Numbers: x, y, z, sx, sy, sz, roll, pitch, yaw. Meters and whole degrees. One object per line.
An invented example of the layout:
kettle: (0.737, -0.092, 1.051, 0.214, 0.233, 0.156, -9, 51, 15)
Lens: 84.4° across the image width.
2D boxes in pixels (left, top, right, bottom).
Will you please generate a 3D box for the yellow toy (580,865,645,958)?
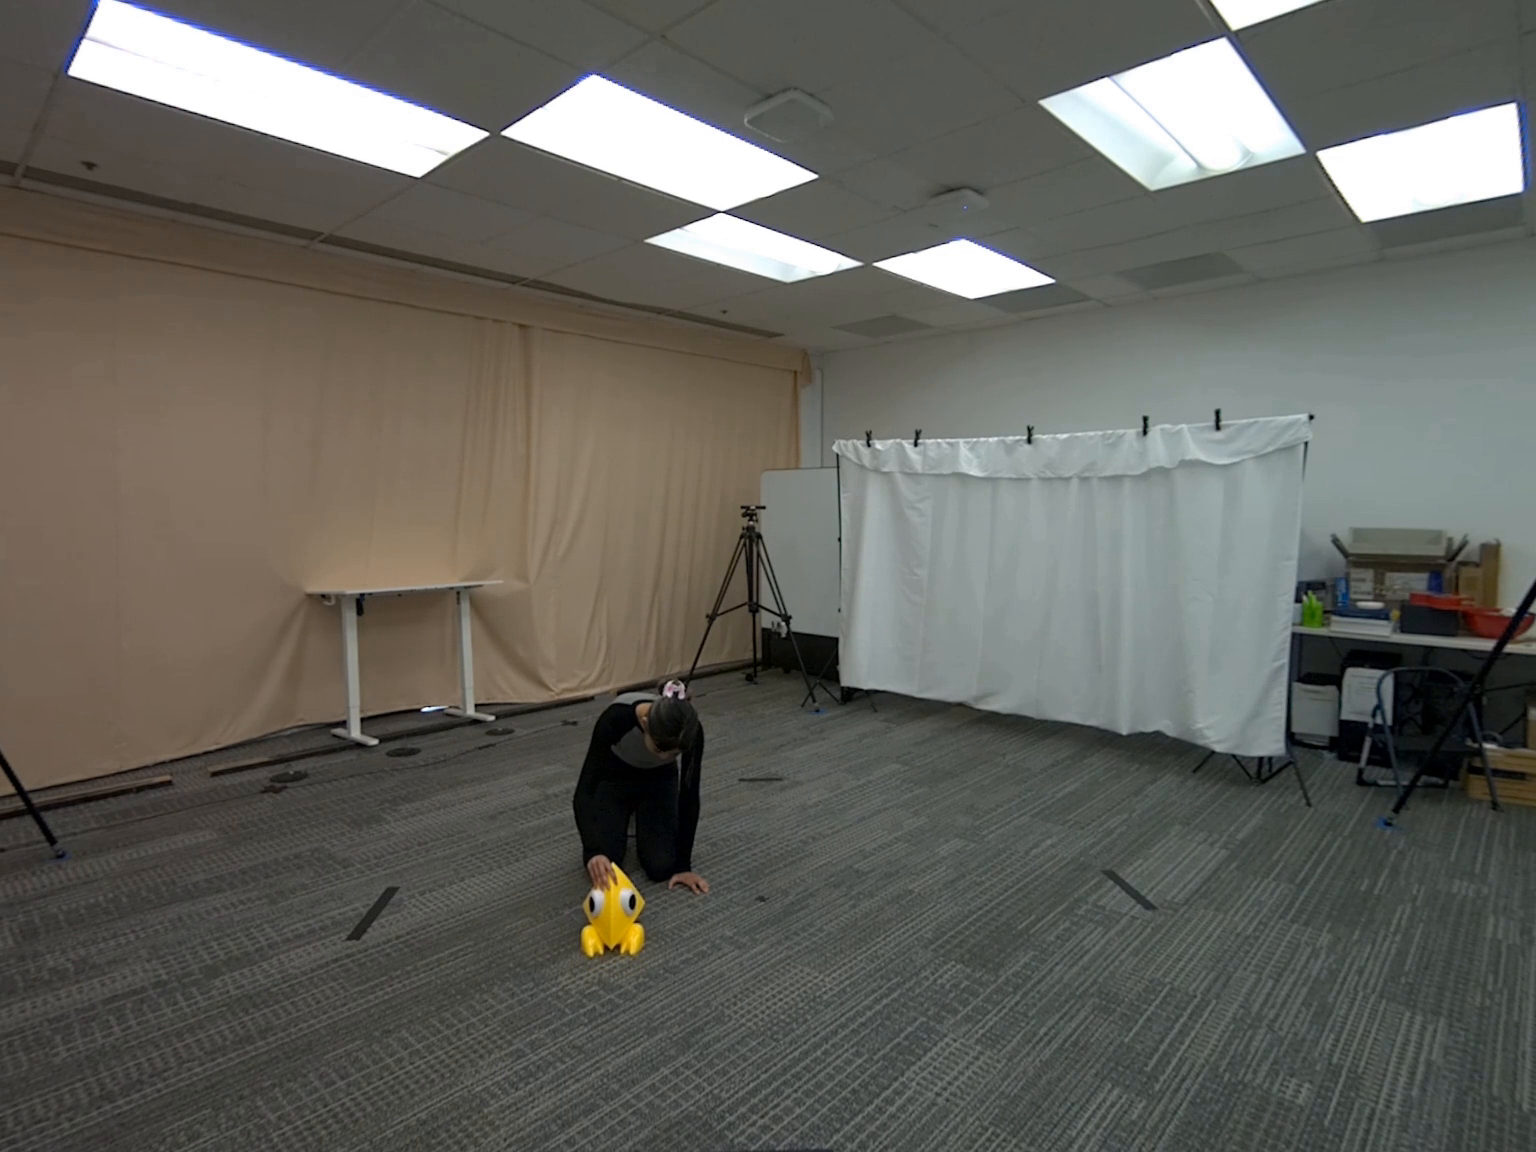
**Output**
yellow toy: (-0.496, 1.052, 2.694, 0.203, 0.230, 0.195, 0, 3, -7)
